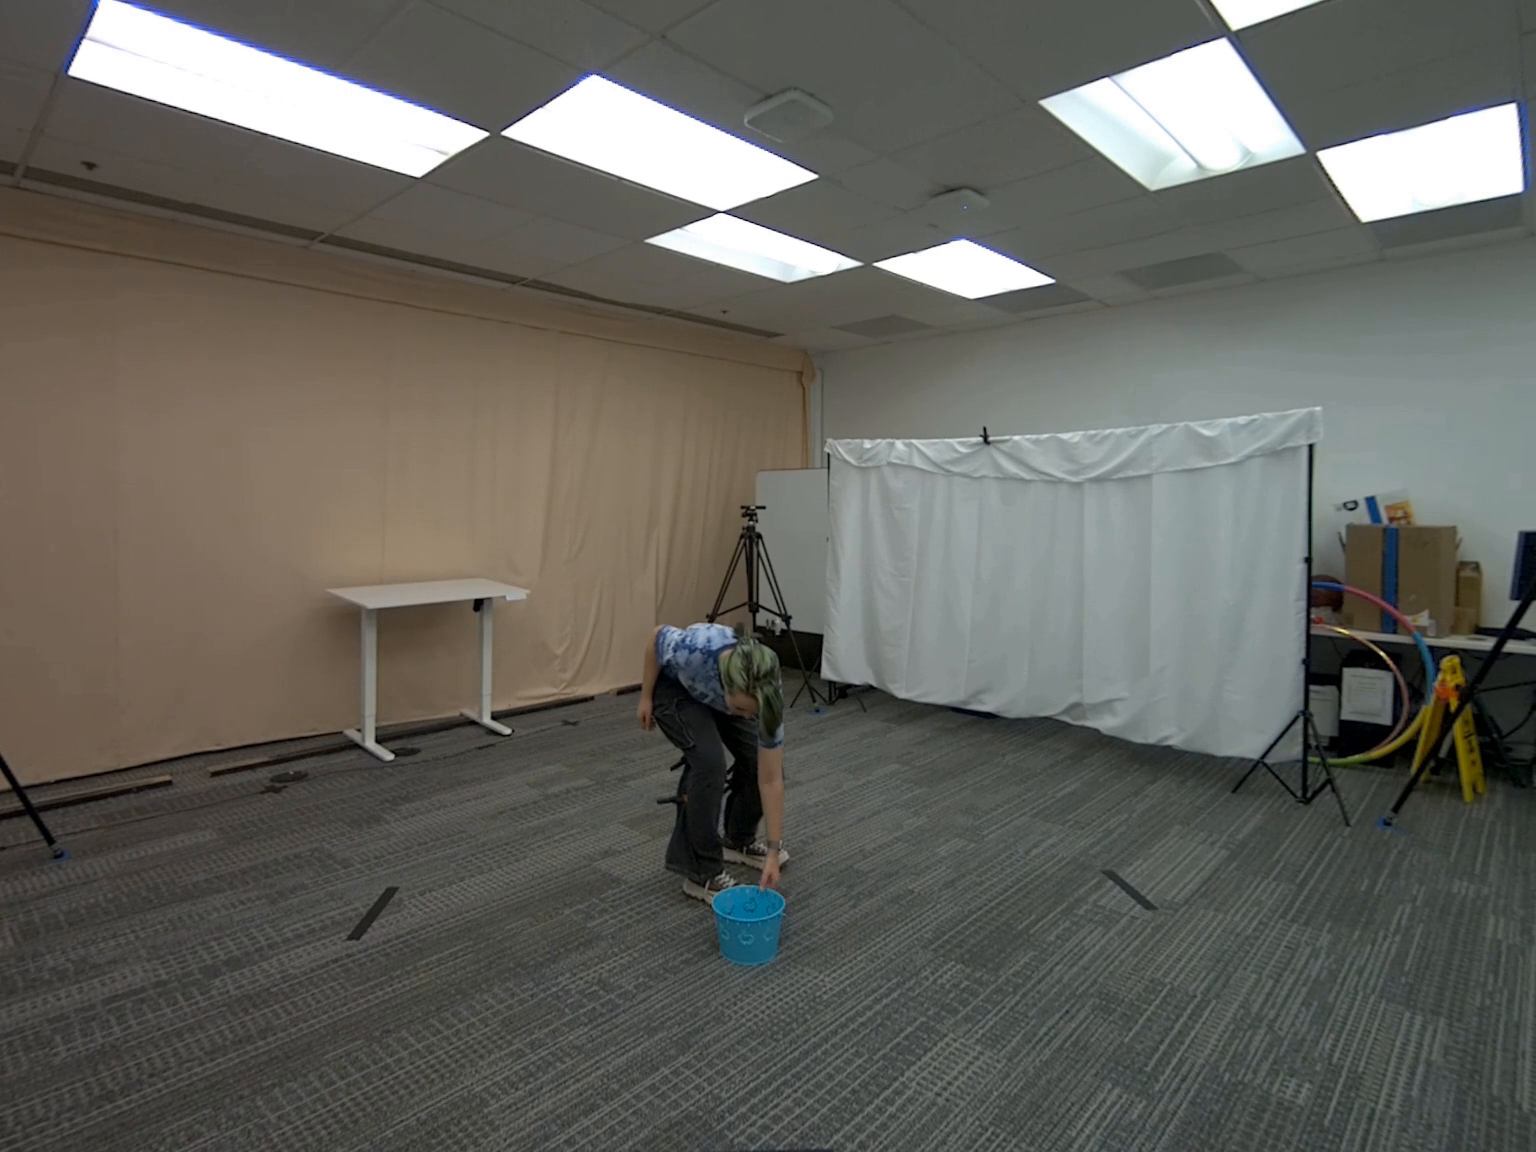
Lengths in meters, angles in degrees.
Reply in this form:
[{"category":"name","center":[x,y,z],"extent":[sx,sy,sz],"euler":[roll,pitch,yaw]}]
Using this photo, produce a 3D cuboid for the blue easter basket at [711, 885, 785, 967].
[{"category":"blue easter basket","center":[-0.056,1.088,2.644],"extent":[0.243,0.155,0.244],"euler":[-1,5,-2]}]
